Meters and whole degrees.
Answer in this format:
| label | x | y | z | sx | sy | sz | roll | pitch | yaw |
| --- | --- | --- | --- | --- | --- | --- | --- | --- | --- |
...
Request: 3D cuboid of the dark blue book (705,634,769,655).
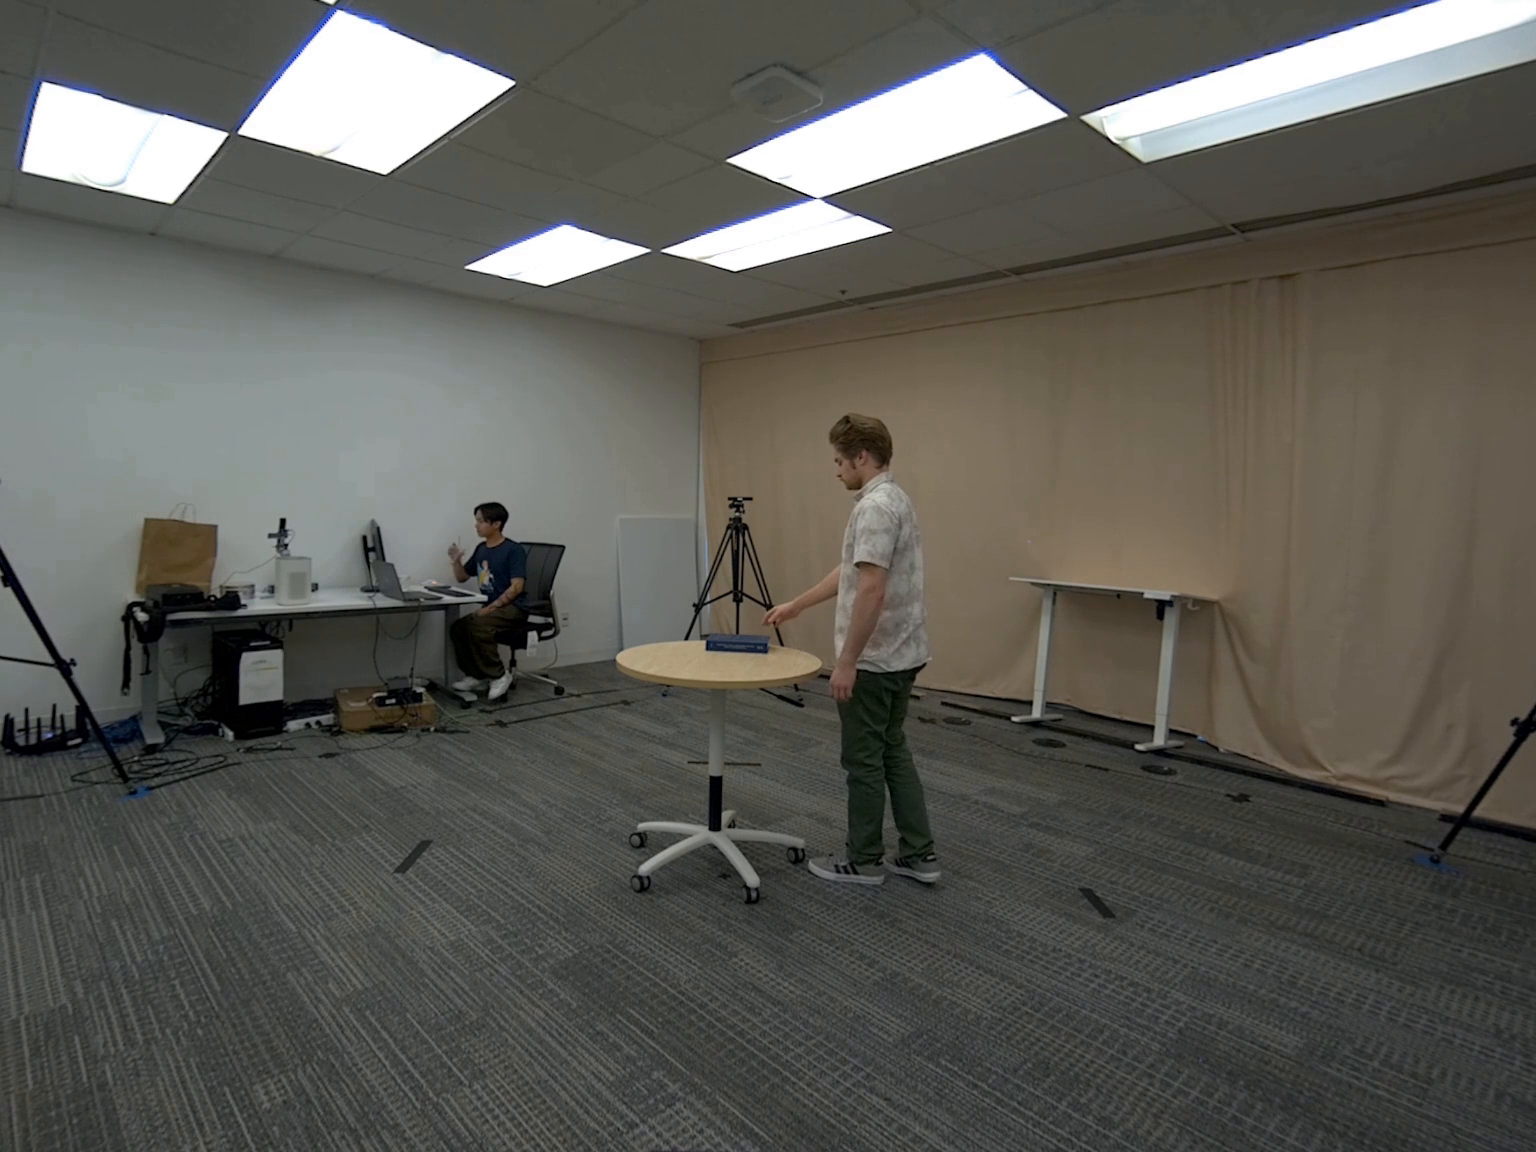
| label | x | y | z | sx | sy | sz | roll | pitch | yaw |
| --- | --- | --- | --- | --- | --- | --- | --- | --- | --- |
| dark blue book | -0.121 | 0.265 | 3.360 | 0.246 | 0.045 | 0.163 | 1 | 5 | 6 |
